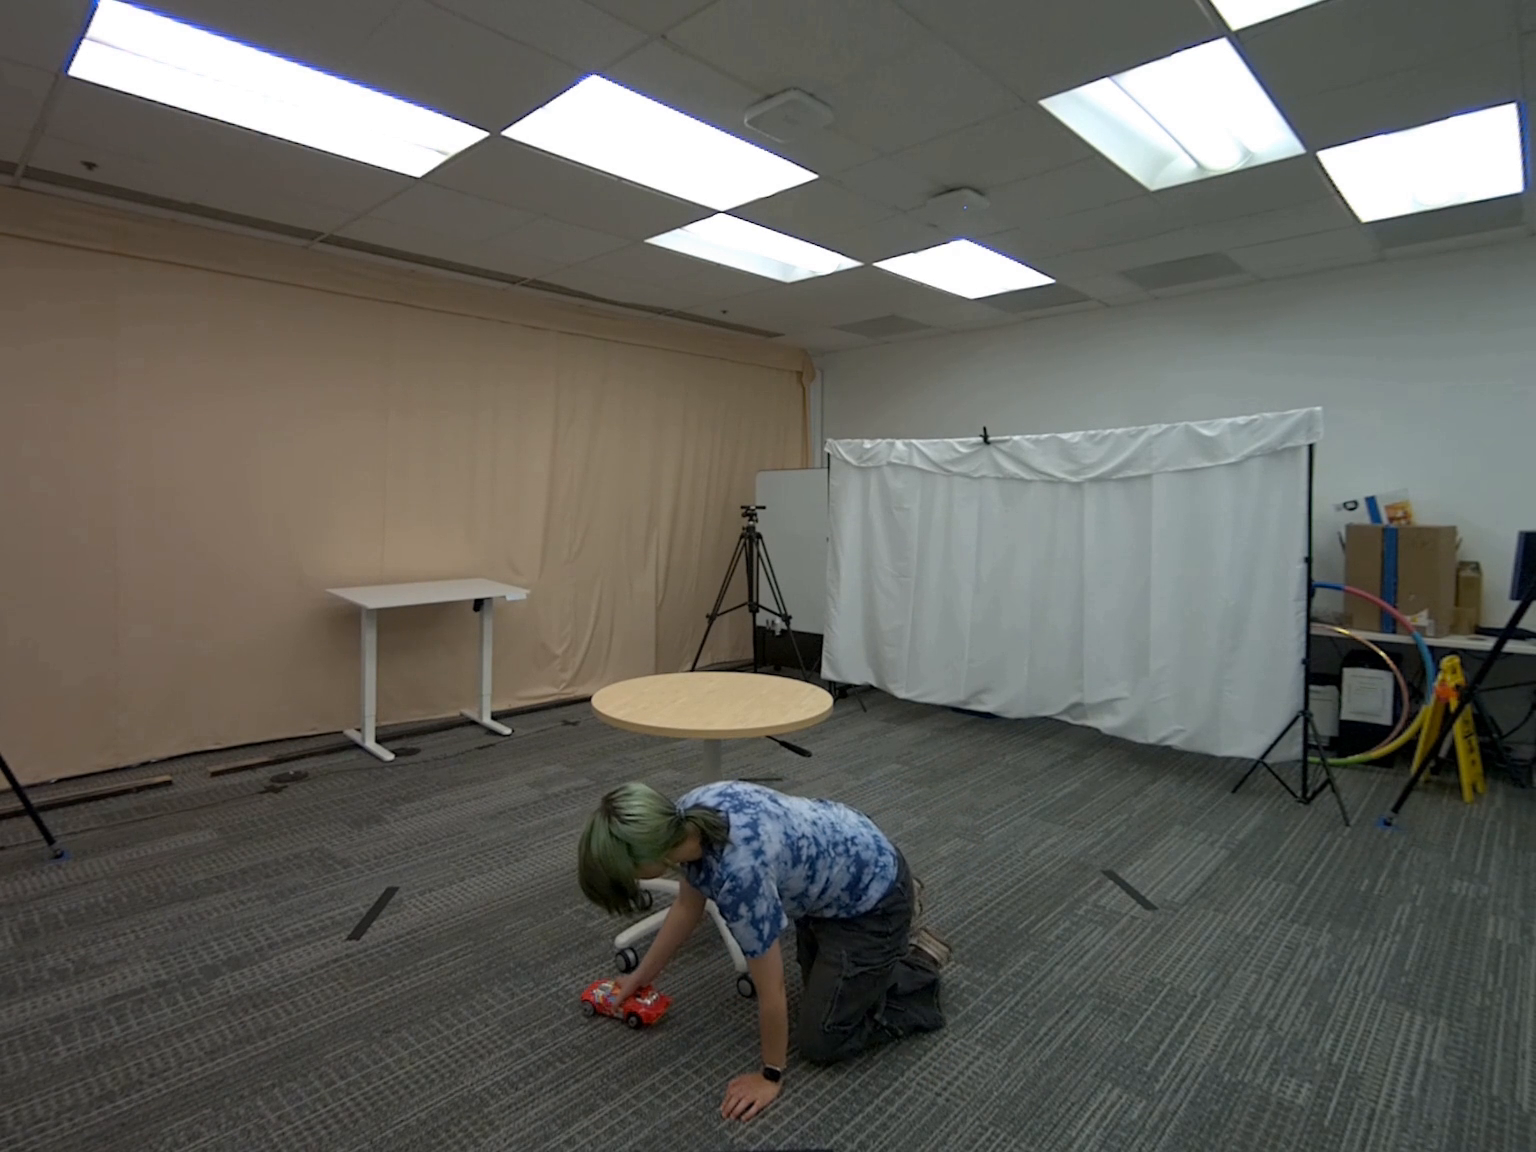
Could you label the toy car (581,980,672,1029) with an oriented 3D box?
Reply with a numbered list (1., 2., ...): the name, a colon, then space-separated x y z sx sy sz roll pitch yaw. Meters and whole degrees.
1. toy car: -0.381 1.174 2.308 0.259 0.083 0.128 -10 0 20
